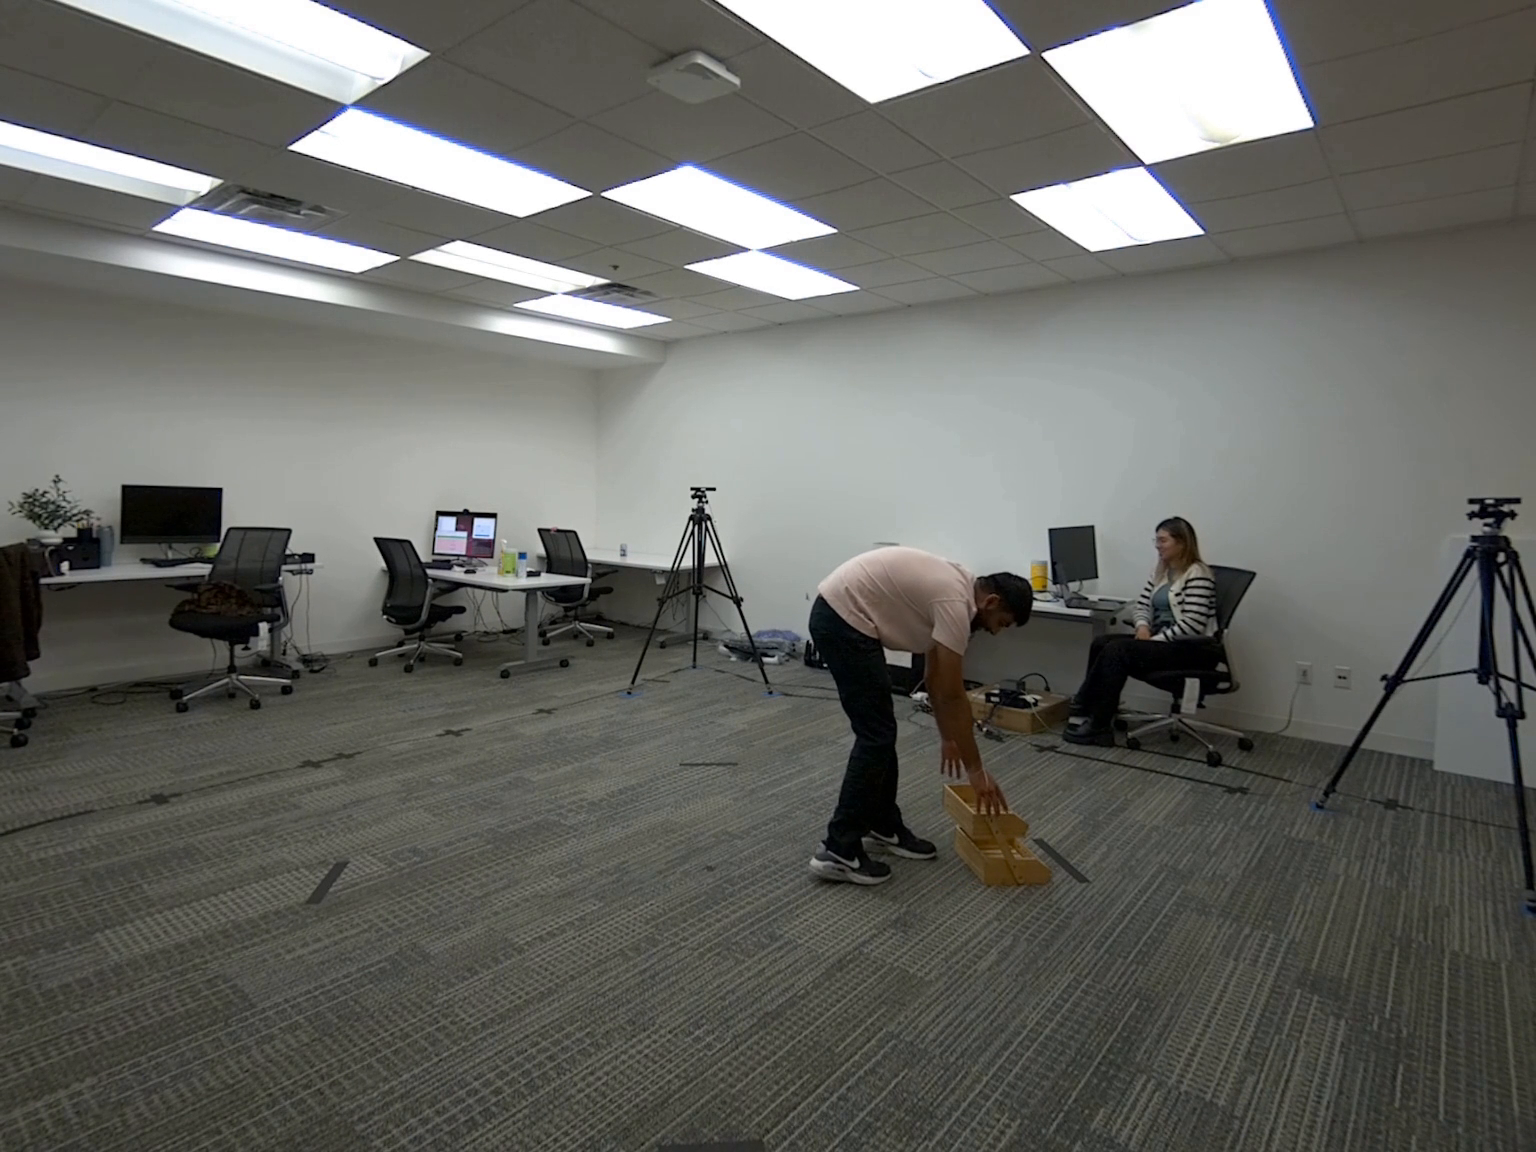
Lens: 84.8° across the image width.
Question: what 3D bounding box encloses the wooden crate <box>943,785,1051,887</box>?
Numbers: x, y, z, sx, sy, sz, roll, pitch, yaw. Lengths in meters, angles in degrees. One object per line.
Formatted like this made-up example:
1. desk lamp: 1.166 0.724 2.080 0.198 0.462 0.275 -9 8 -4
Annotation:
1. wooden crate: 0.844 0.952 3.184 0.300 0.272 0.328 -1 5 -7
